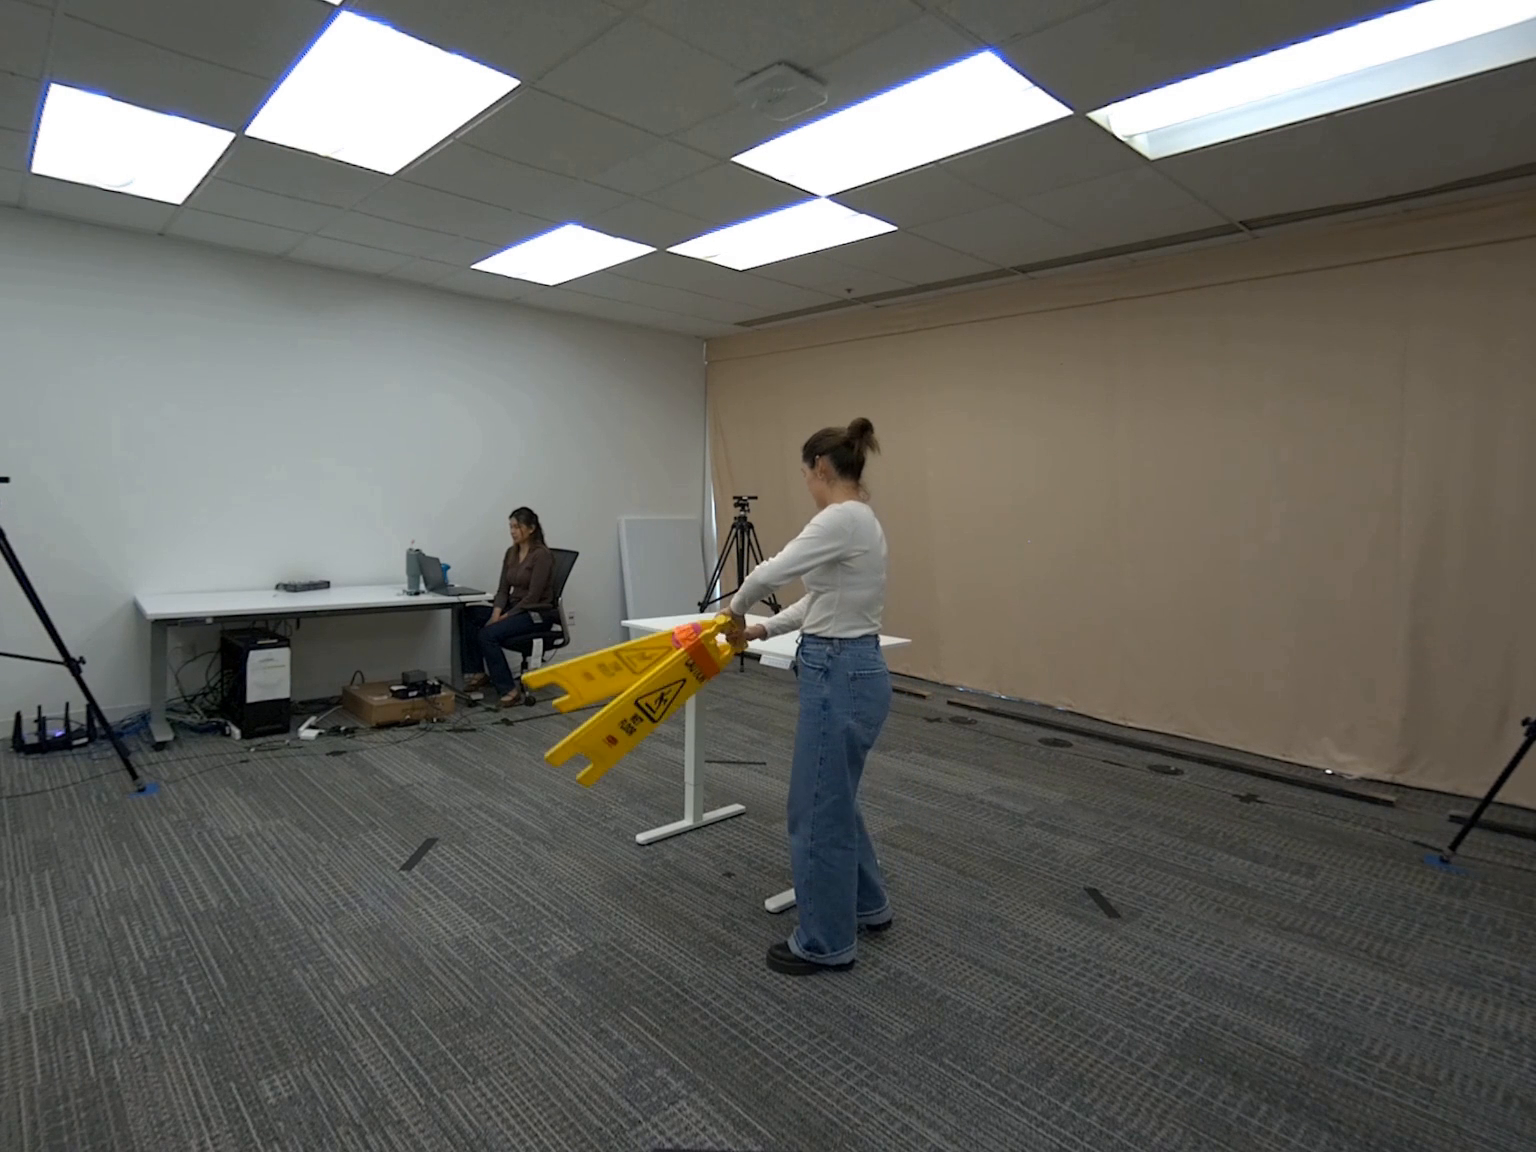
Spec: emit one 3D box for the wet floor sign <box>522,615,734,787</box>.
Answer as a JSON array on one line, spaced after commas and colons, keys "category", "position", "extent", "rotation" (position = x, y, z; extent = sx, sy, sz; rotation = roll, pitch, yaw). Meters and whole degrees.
[{"category": "wet floor sign", "position": [-0.362, 0.315, 2.536], "extent": [0.646, 0.298, 0.274], "rotation": [-28, -34, 2]}]
